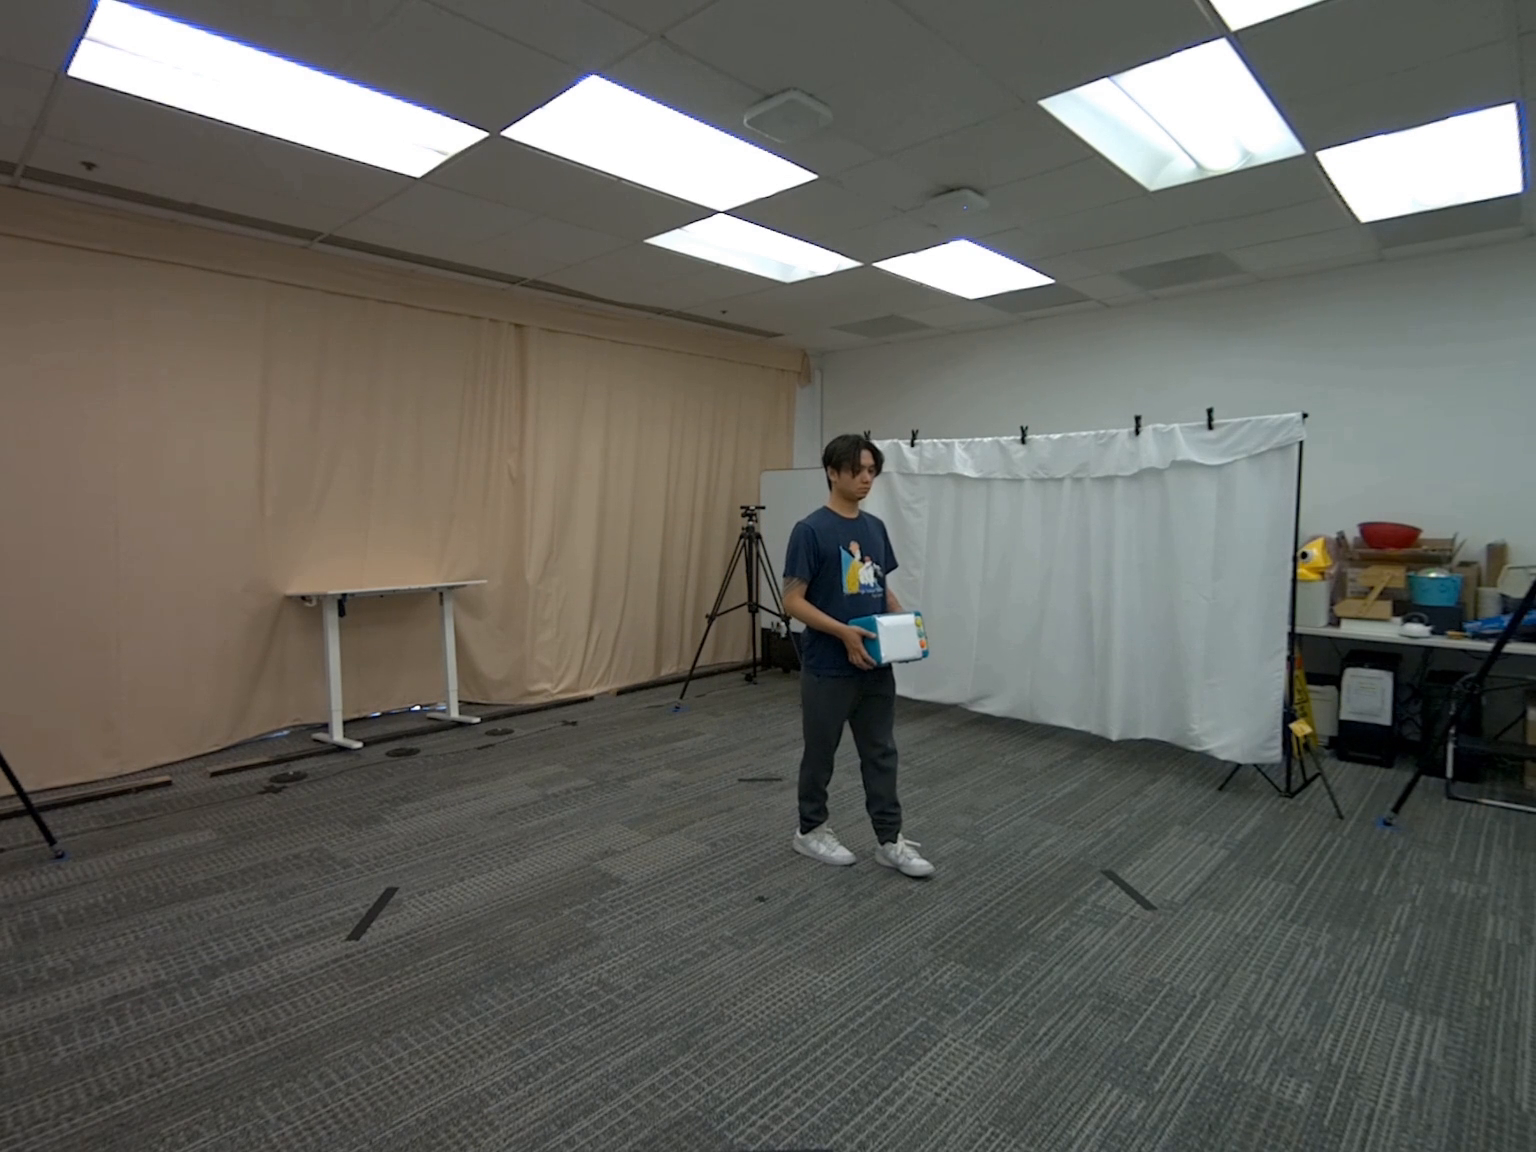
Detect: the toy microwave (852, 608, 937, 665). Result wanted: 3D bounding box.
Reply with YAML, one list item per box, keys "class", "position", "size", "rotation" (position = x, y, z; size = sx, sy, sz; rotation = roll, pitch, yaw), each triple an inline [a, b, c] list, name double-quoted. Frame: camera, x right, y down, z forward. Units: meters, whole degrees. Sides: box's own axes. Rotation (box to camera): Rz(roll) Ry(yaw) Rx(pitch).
- class: "toy microwave"
  position: [0.443, 0.225, 3.071]
  size: [0.277, 0.185, 0.156]
  rotation: [-1, -10, -40]
